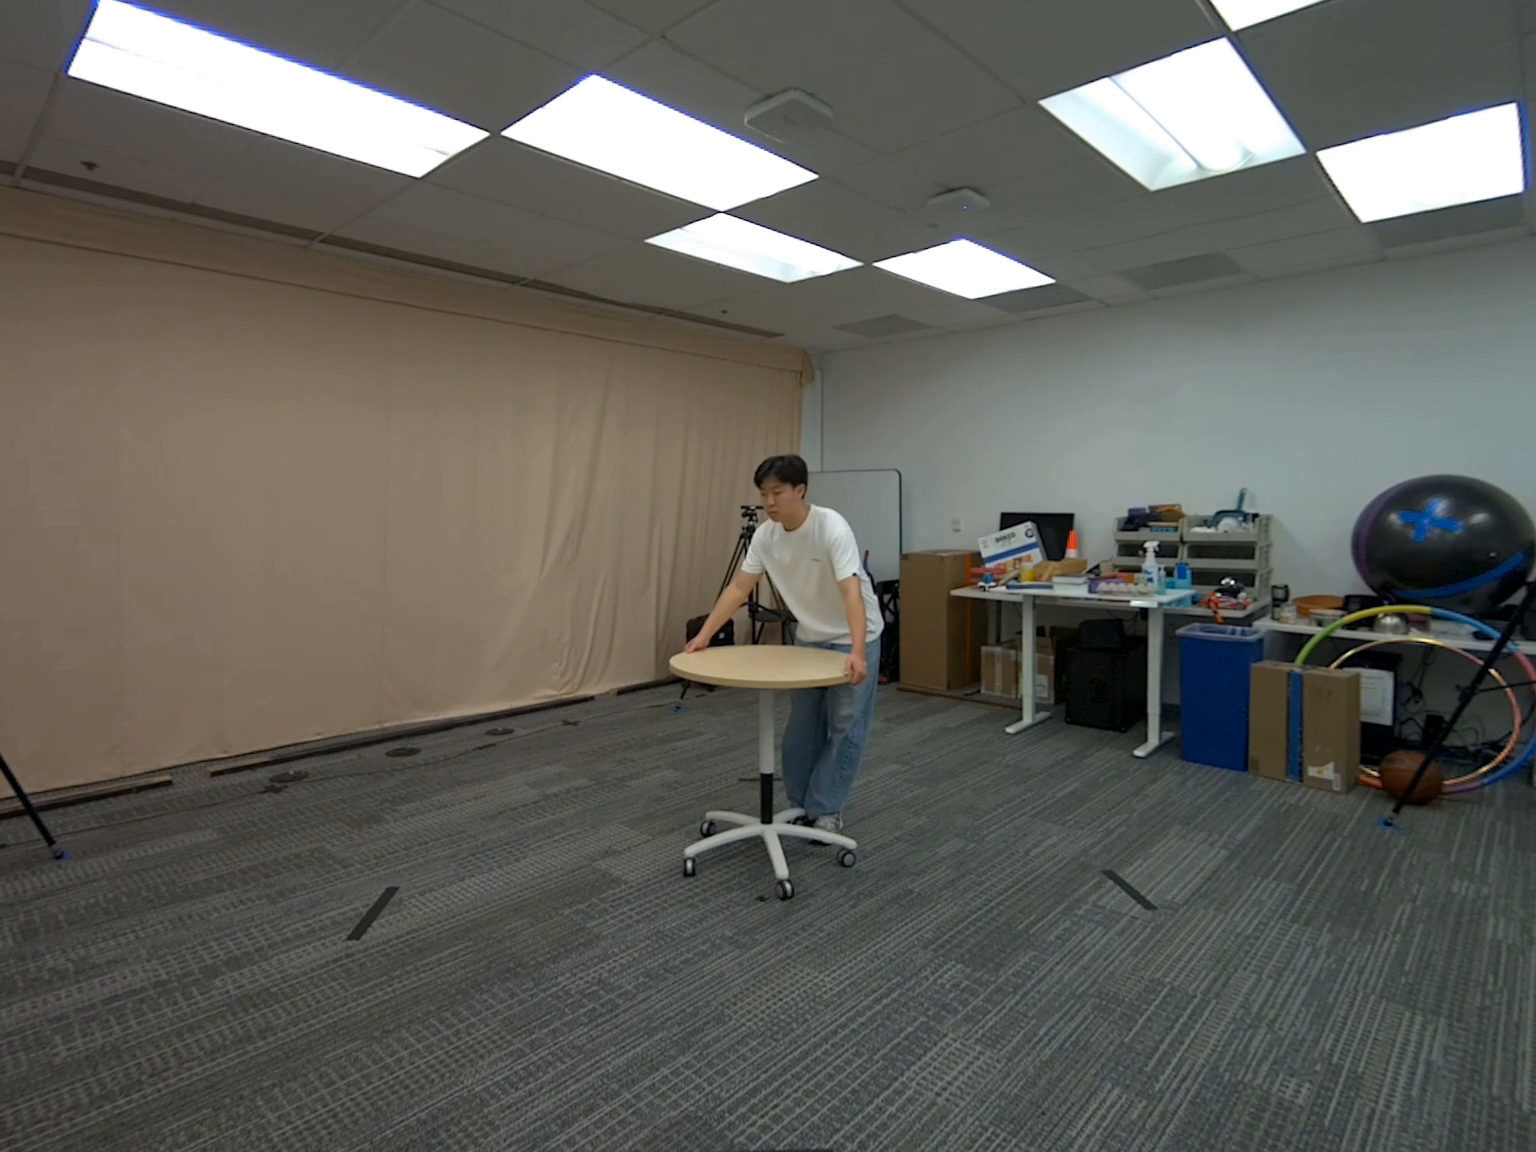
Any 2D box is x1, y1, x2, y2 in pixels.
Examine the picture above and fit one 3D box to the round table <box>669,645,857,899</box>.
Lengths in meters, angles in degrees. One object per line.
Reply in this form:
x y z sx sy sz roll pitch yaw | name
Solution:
0.000 0.725 3.309 0.763 0.792 0.766 0 4 -2 | round table
